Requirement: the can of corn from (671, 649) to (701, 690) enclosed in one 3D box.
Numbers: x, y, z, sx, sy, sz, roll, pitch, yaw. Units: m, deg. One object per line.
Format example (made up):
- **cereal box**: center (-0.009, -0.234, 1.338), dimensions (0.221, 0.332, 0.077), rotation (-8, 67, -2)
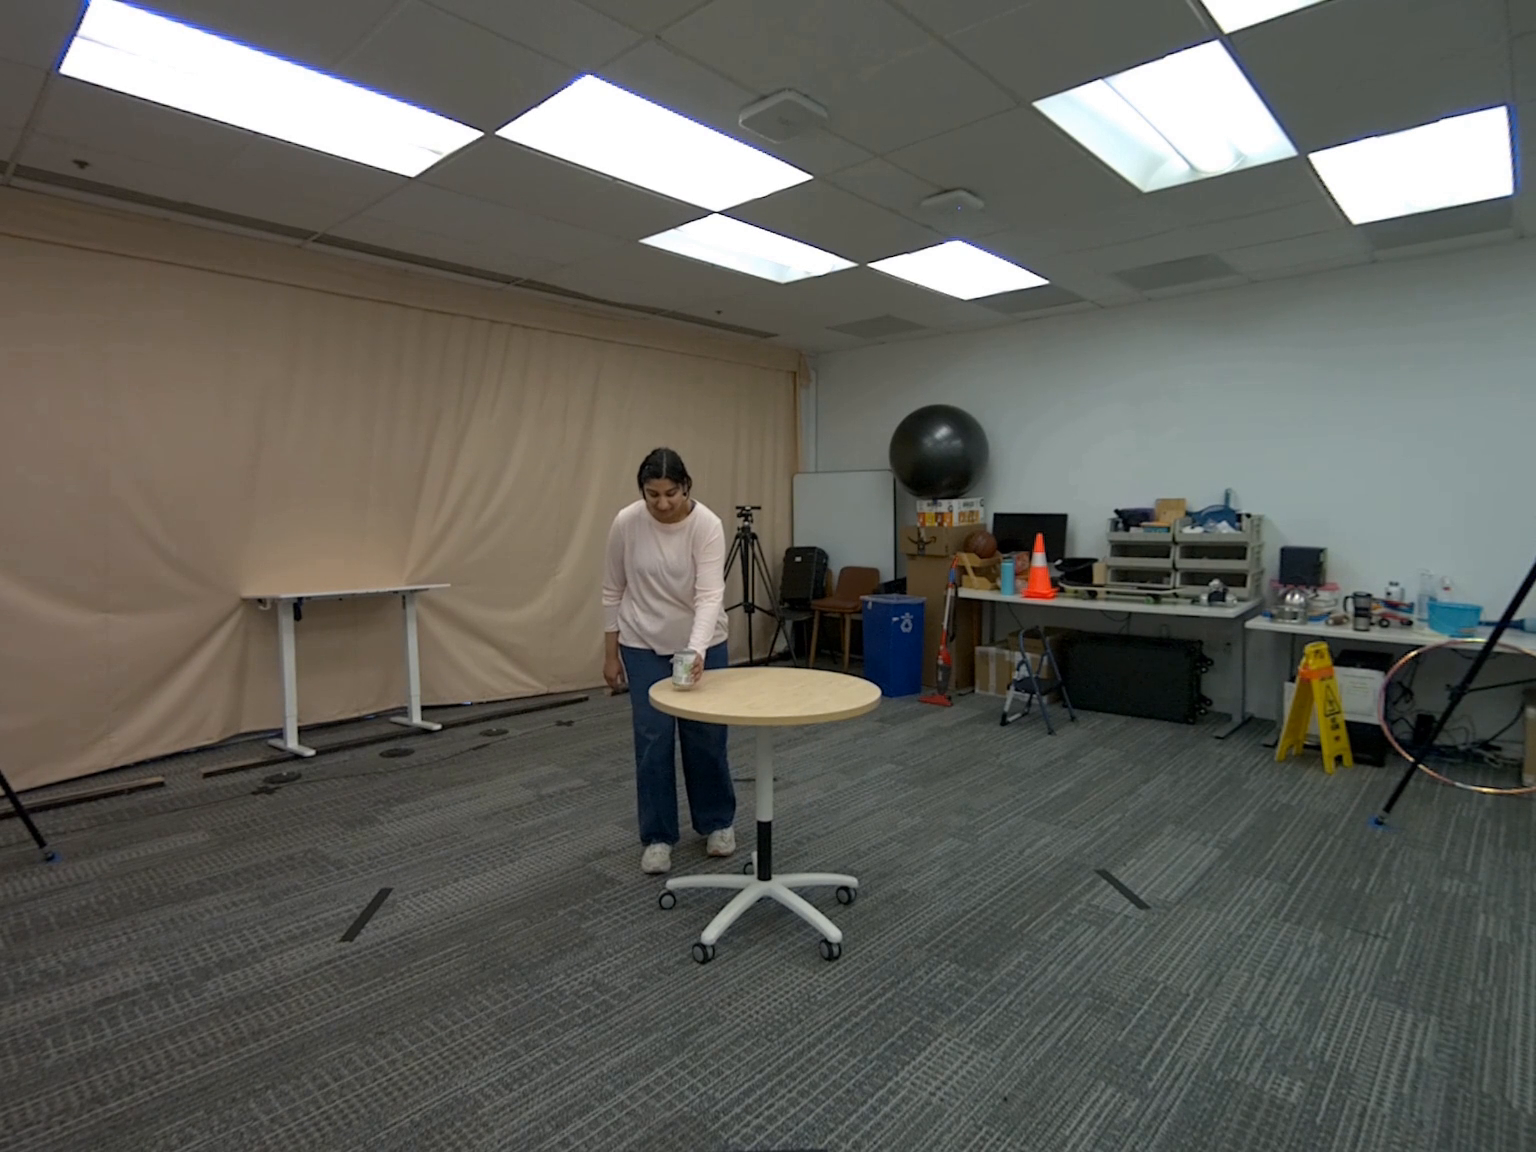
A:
- **can of corn**: center (-0.272, 0.298, 2.780), dimensions (0.074, 0.111, 0.074), rotation (4, 4, -2)
